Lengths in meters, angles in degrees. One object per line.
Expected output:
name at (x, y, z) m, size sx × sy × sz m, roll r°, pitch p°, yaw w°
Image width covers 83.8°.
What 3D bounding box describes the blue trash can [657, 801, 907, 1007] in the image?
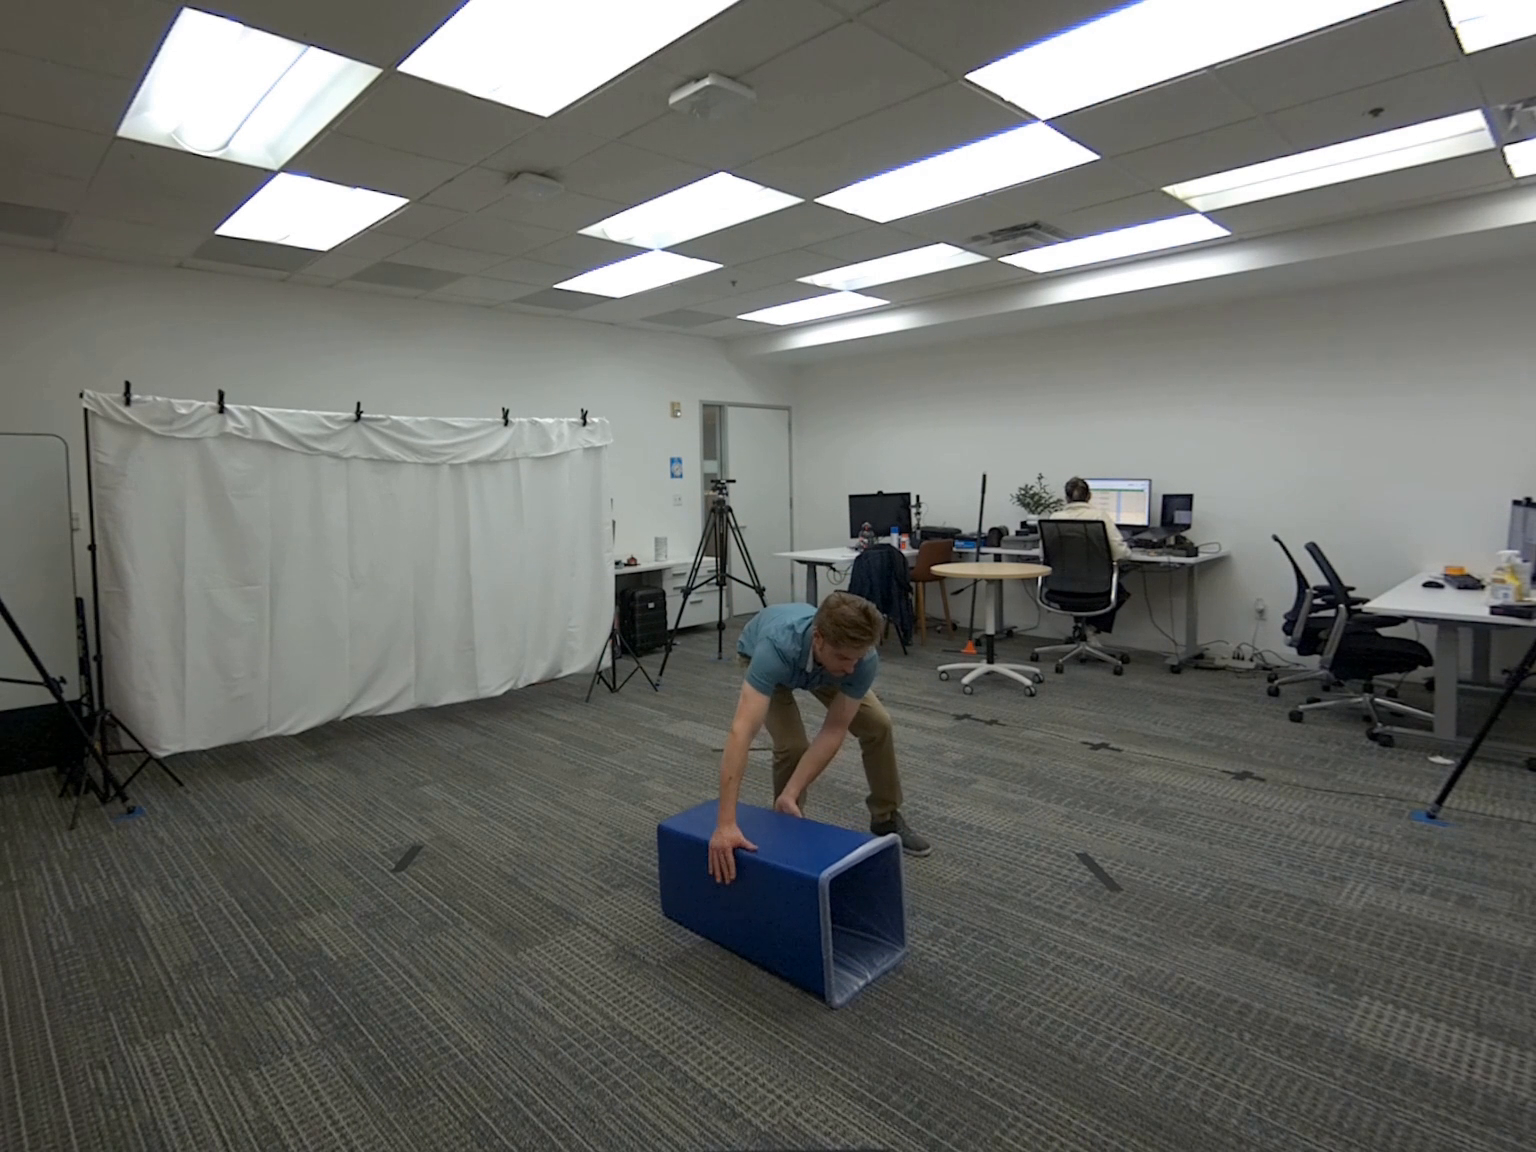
blue trash can at (0.011, 0.942, 2.602) m, size 0.734 × 0.377 × 0.364 m, roll 0°, pitch 5°, yaw 43°
